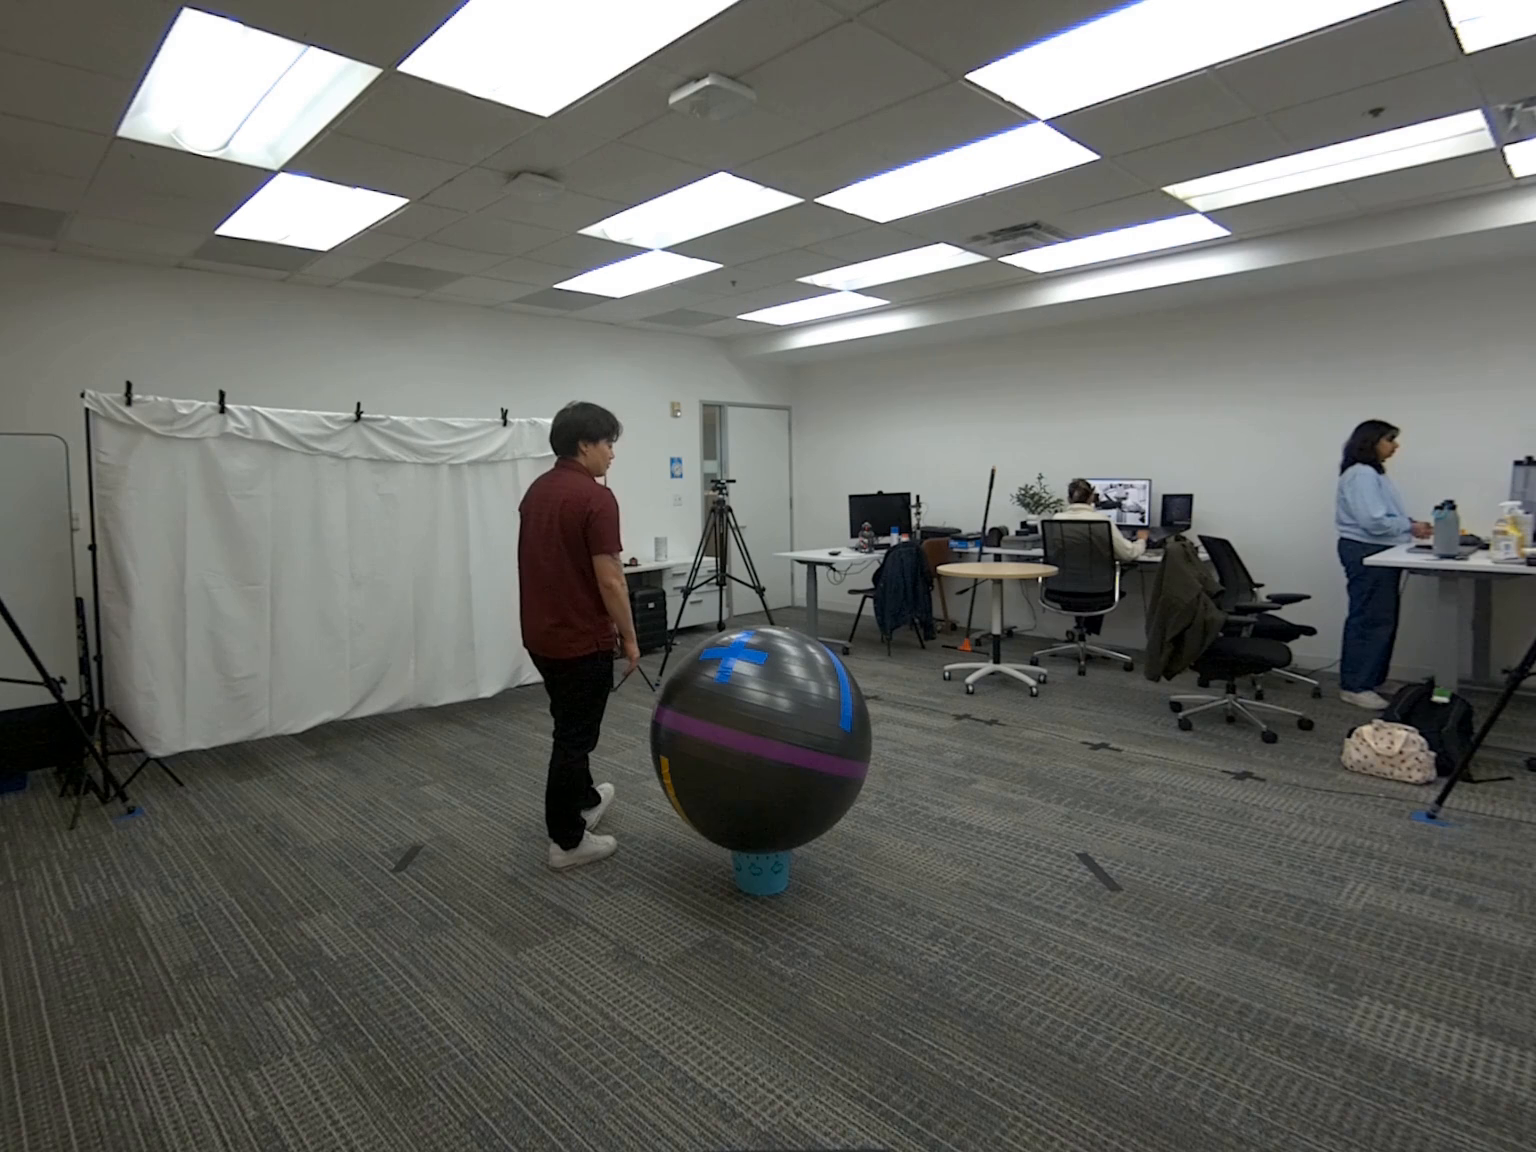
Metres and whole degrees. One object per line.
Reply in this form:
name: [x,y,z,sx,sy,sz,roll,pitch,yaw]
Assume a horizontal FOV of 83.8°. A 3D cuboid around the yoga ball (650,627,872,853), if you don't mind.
yoga ball: [-0.016,0.555,2.943,0.757,0.755,0.762,-1,5,-2]
